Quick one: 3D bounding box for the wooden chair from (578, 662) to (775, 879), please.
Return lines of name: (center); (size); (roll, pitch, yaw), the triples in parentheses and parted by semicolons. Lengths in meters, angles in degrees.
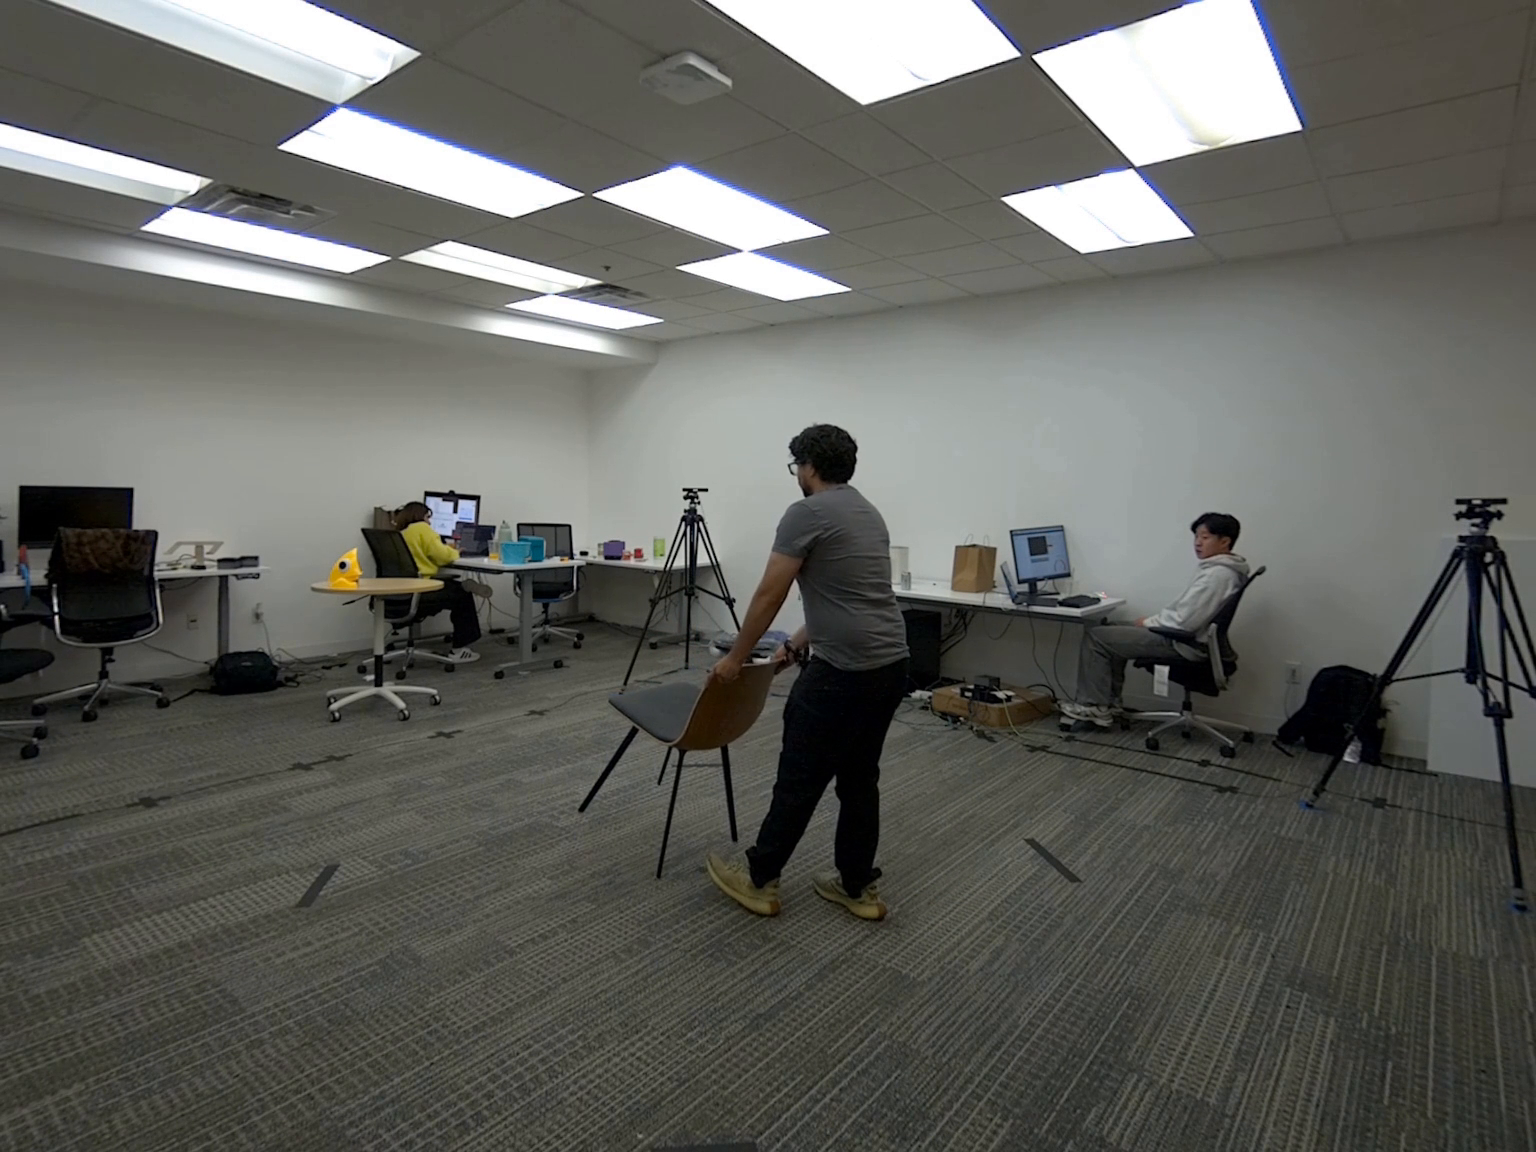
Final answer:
wooden chair: (-0.333, 0.578, 3.228); (0.544, 0.869, 0.464); (30, 20, 33)
